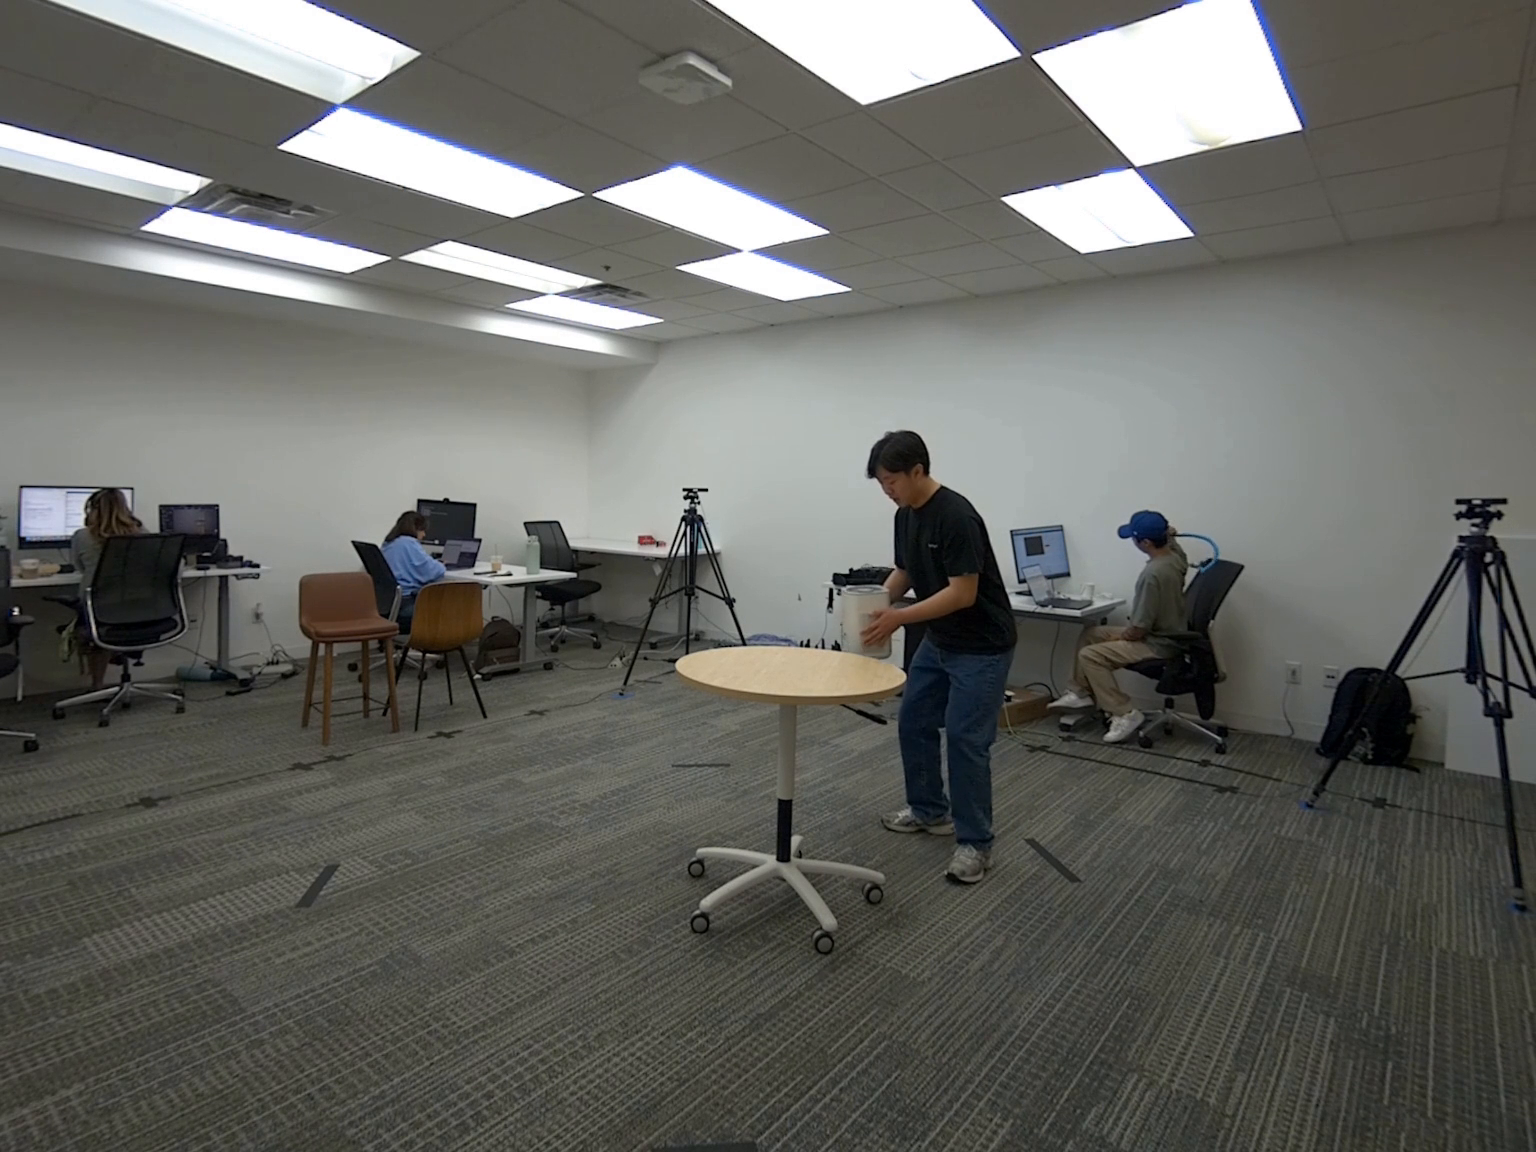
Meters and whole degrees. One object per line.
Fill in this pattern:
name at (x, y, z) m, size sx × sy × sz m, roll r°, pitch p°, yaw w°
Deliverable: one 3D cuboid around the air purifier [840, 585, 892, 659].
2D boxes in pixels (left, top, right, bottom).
air purifier at (0.380, 0.187, 3.290) m, size 0.169 × 0.263 × 0.175 m, roll -5°, pitch 8°, yaw -14°
